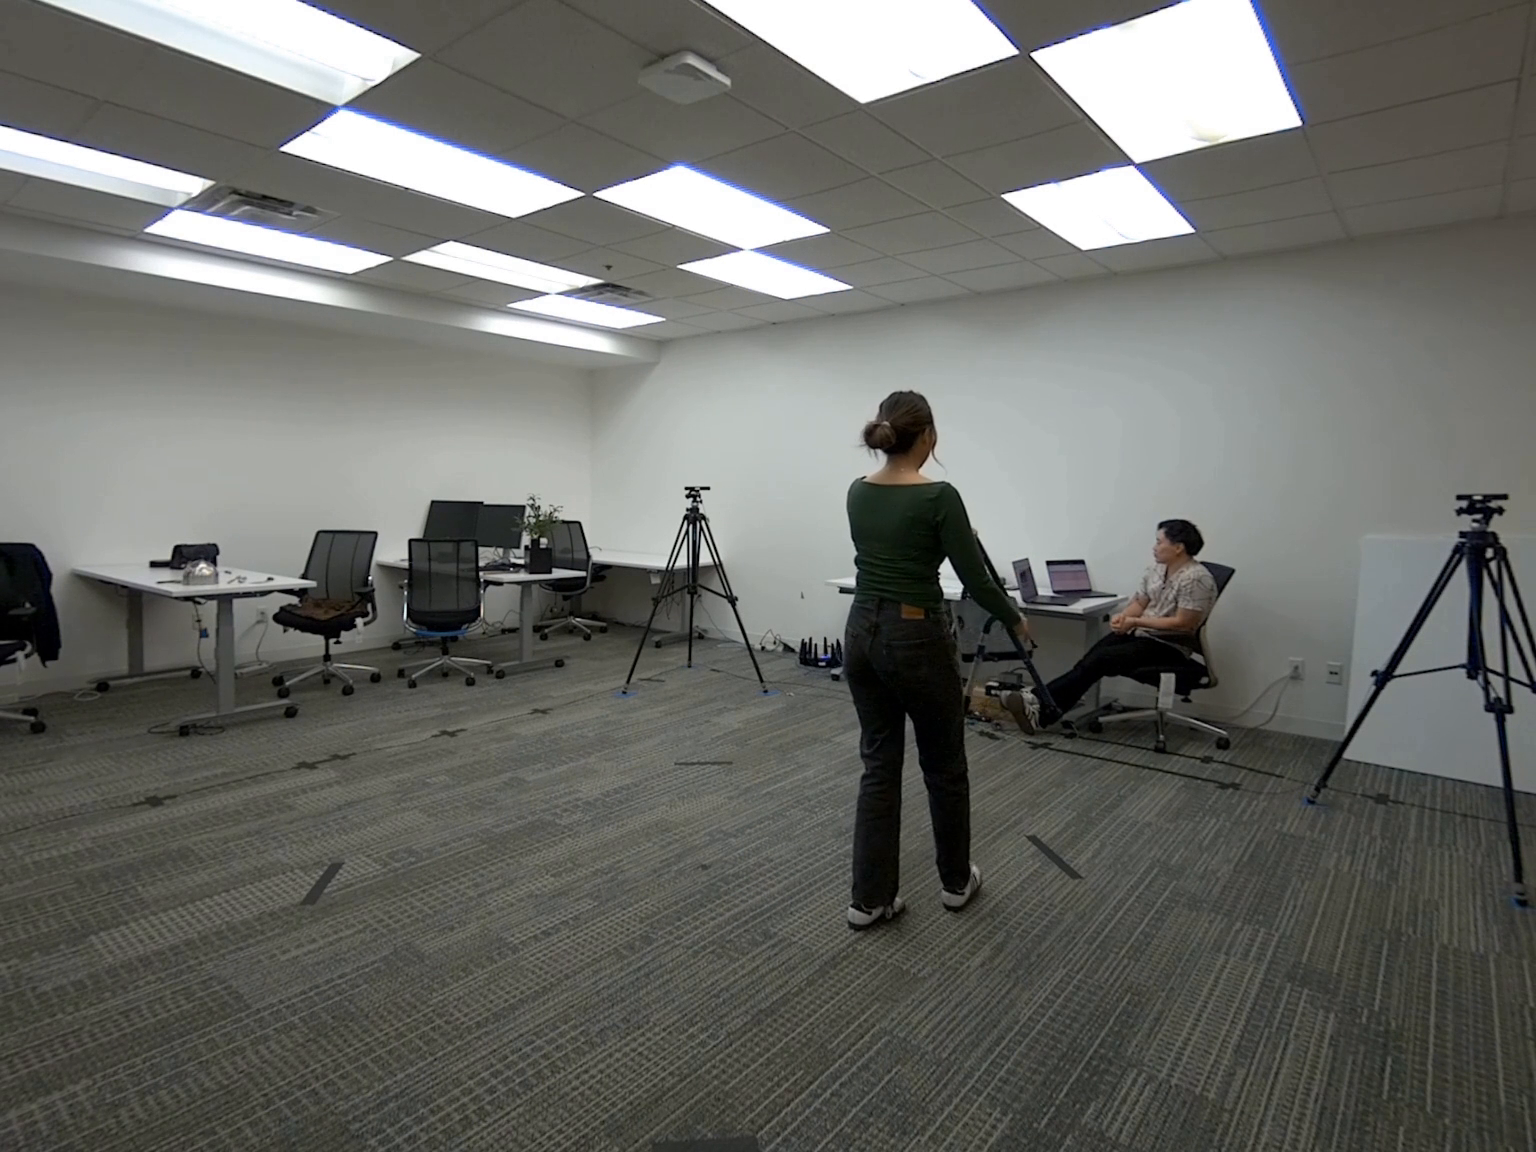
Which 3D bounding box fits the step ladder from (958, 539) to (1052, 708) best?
[{"bbox_3d":[0.814,0.127,3.067,0.352,0.590,0.439,-6,27,7],"label":"step ladder"}]
